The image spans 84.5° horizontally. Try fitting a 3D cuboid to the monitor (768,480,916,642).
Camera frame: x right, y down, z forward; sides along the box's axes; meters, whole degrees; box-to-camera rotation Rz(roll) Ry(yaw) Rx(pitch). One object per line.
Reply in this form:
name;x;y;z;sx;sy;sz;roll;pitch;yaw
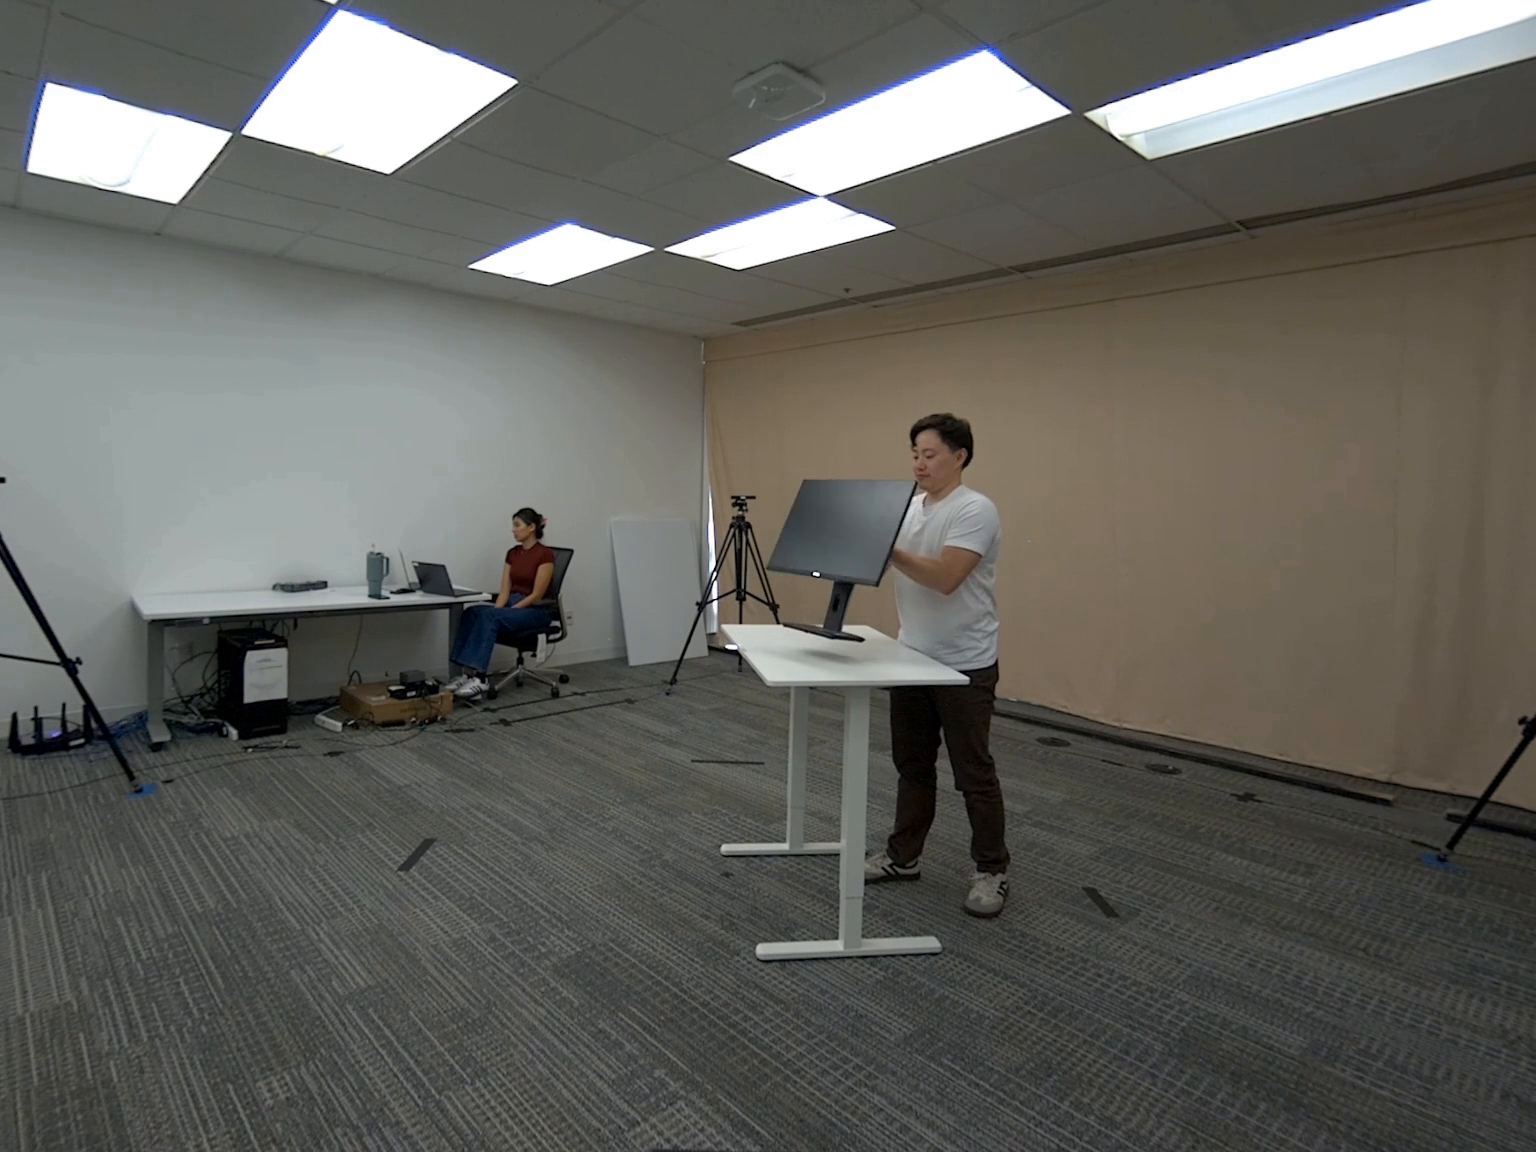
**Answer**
monitor;0.232;-0.055;2.738;0.182;0.523;0.553;15;-4;-37
